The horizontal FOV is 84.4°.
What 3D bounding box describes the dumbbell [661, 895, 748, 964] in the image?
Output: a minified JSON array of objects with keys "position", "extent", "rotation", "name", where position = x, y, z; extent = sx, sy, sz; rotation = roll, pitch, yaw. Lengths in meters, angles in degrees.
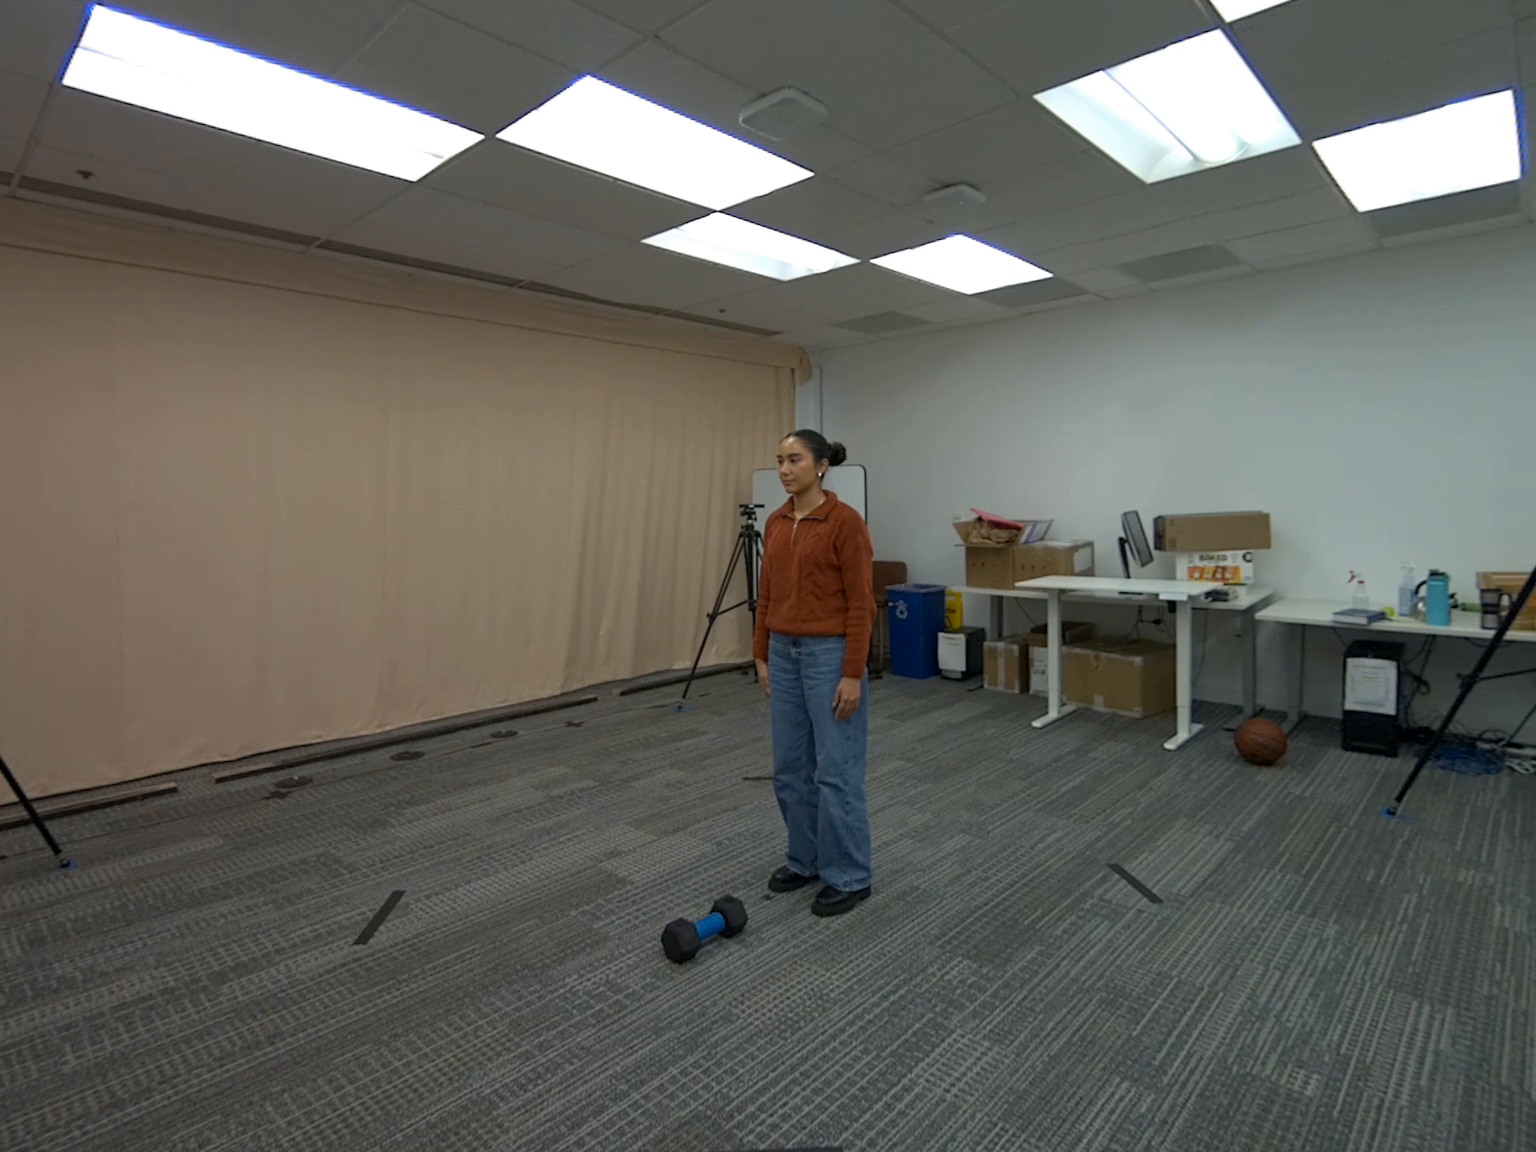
[{"position":[-0.195,1.116,2.665],"extent":[0.127,0.108,0.285],"rotation":[4,6,44],"name":"dumbbell"}]
